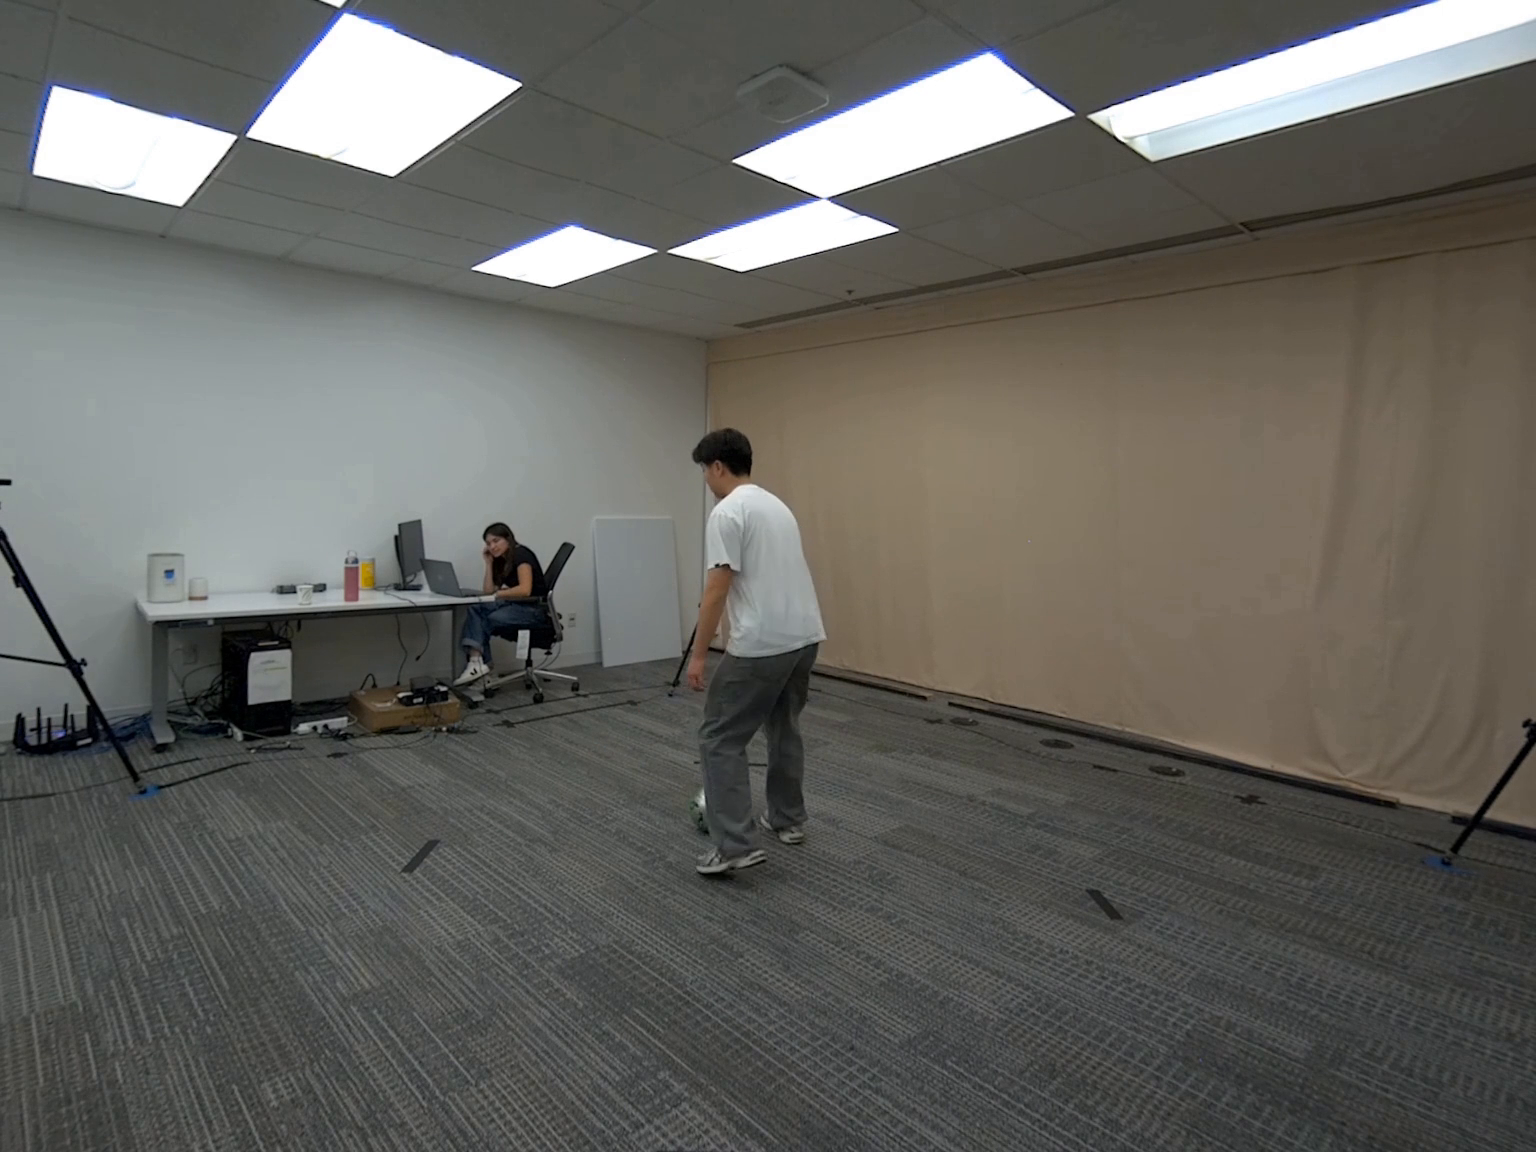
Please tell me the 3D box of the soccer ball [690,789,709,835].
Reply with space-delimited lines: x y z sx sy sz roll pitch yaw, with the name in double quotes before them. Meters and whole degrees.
"soccer ball" -0.232 0.970 3.532 0.187 0.187 0.188 1 4 -1
